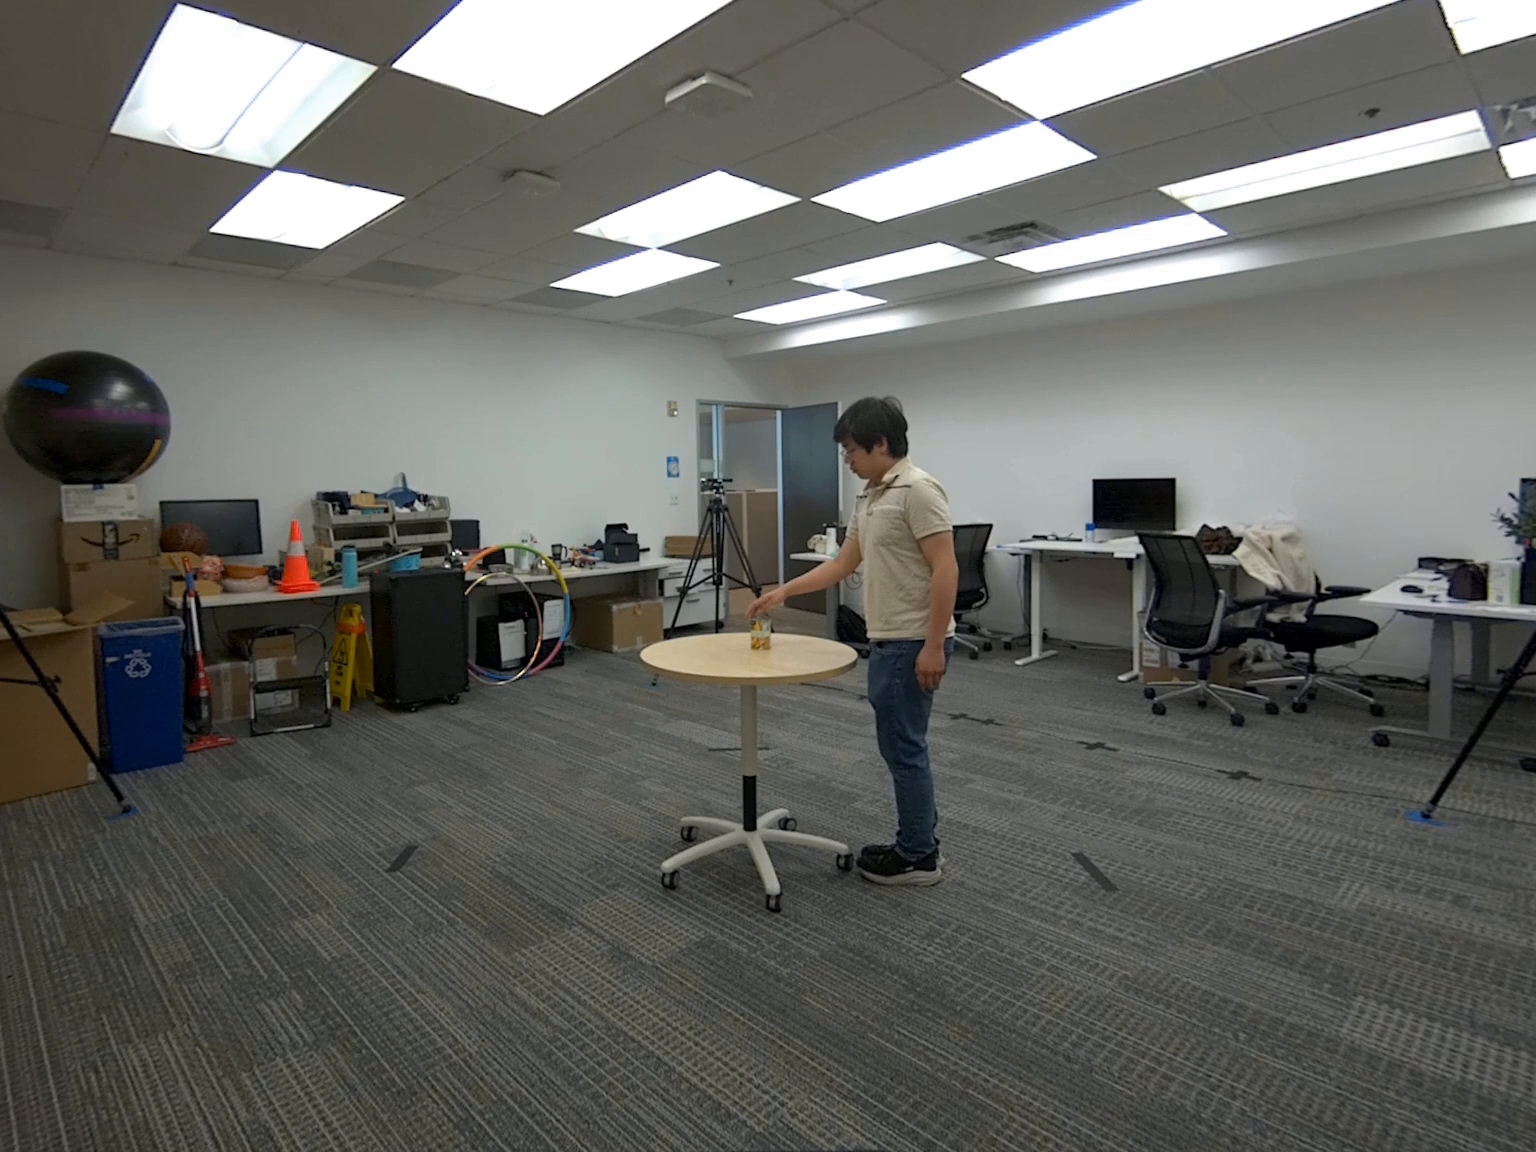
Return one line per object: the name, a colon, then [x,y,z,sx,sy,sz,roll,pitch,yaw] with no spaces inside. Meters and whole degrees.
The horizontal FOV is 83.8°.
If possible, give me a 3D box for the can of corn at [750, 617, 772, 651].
can of corn: [-0.023,0.206,3.103,0.074,0.111,0.074,2,2,-2]
